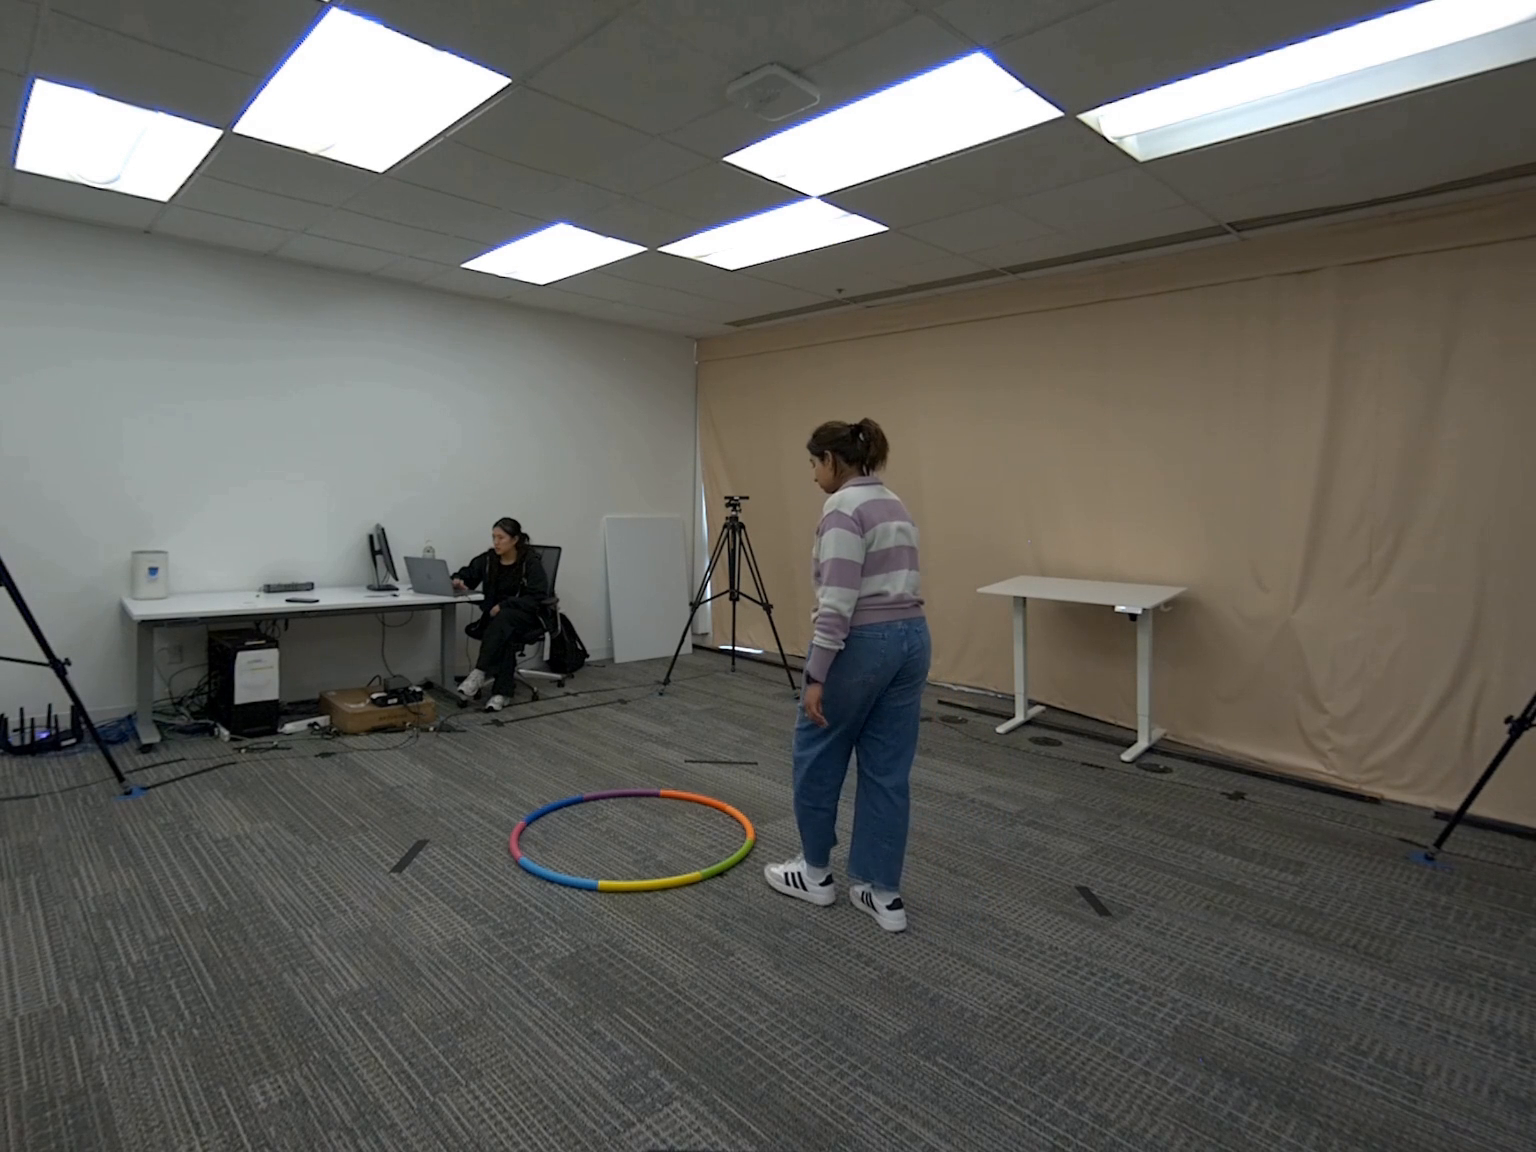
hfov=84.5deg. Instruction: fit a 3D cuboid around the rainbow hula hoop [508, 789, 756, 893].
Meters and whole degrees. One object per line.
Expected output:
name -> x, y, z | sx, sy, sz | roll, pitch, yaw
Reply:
rainbow hula hoop -> -0.548, 1.036, 3.431 | 0.978, 0.035, 0.982 | 2, 5, -1
